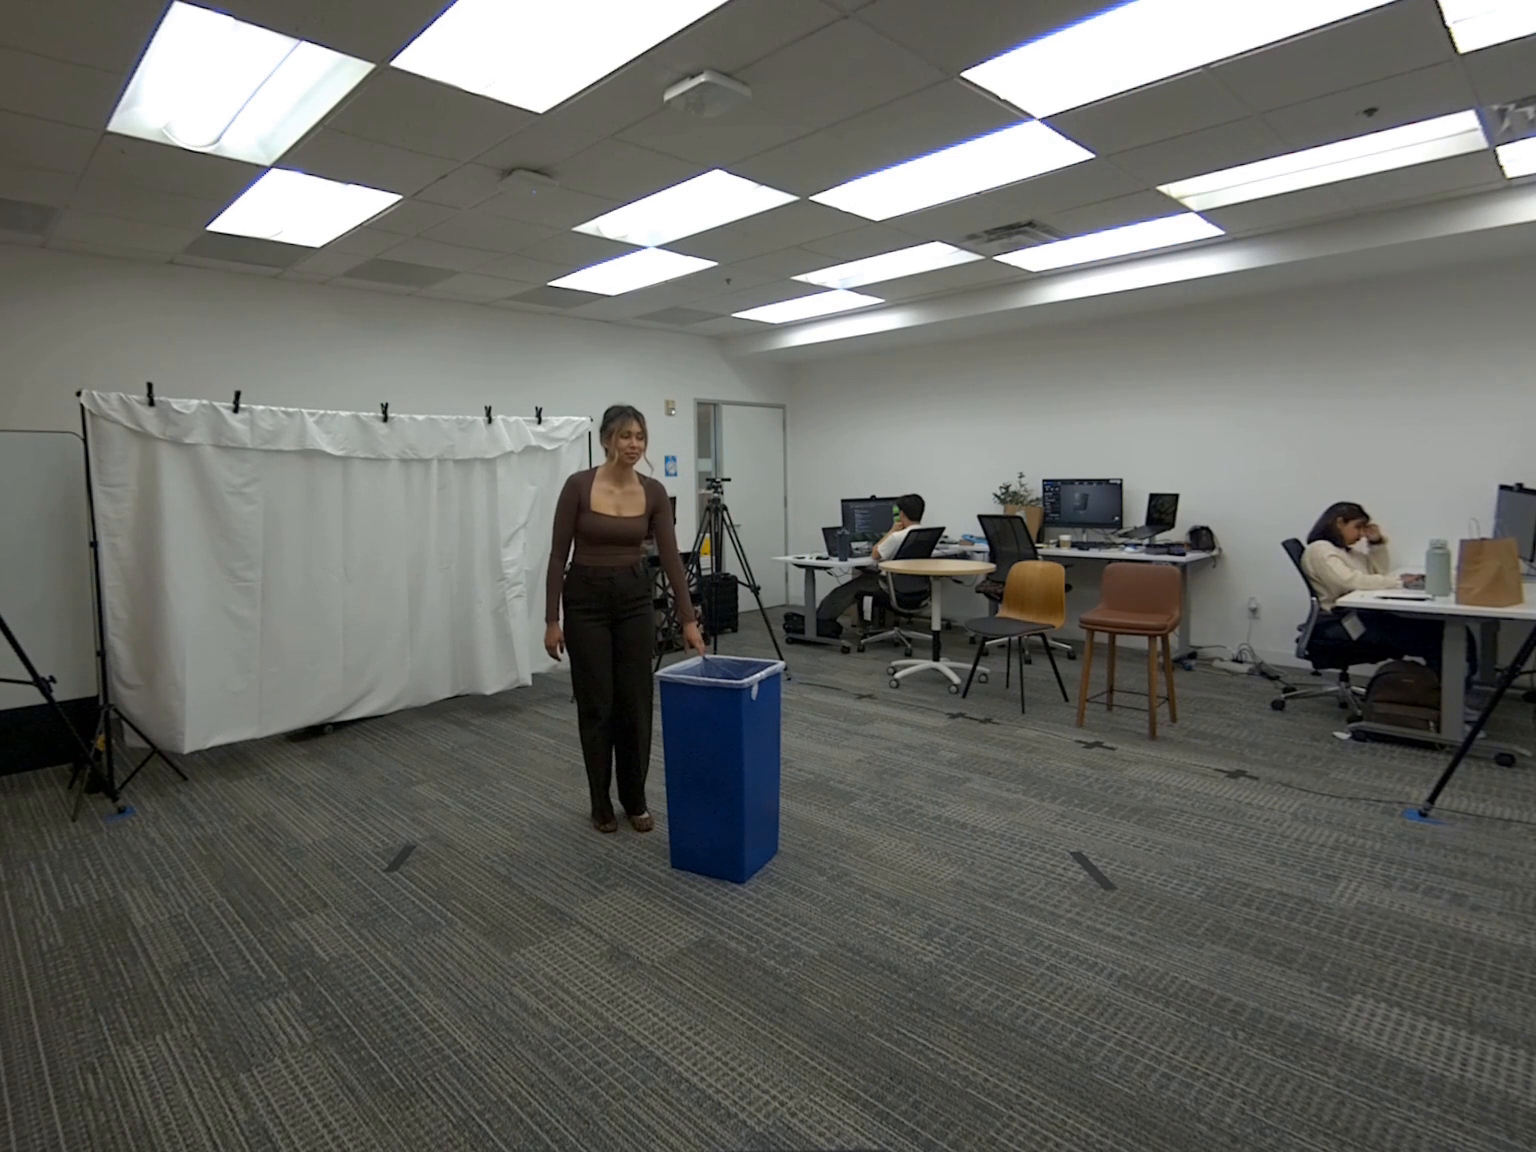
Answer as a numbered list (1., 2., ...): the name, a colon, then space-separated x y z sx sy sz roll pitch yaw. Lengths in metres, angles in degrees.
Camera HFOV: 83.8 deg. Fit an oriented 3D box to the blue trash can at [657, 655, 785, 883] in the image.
1. blue trash can: -0.165 0.684 3.118 0.383 0.711 0.370 2 4 27
